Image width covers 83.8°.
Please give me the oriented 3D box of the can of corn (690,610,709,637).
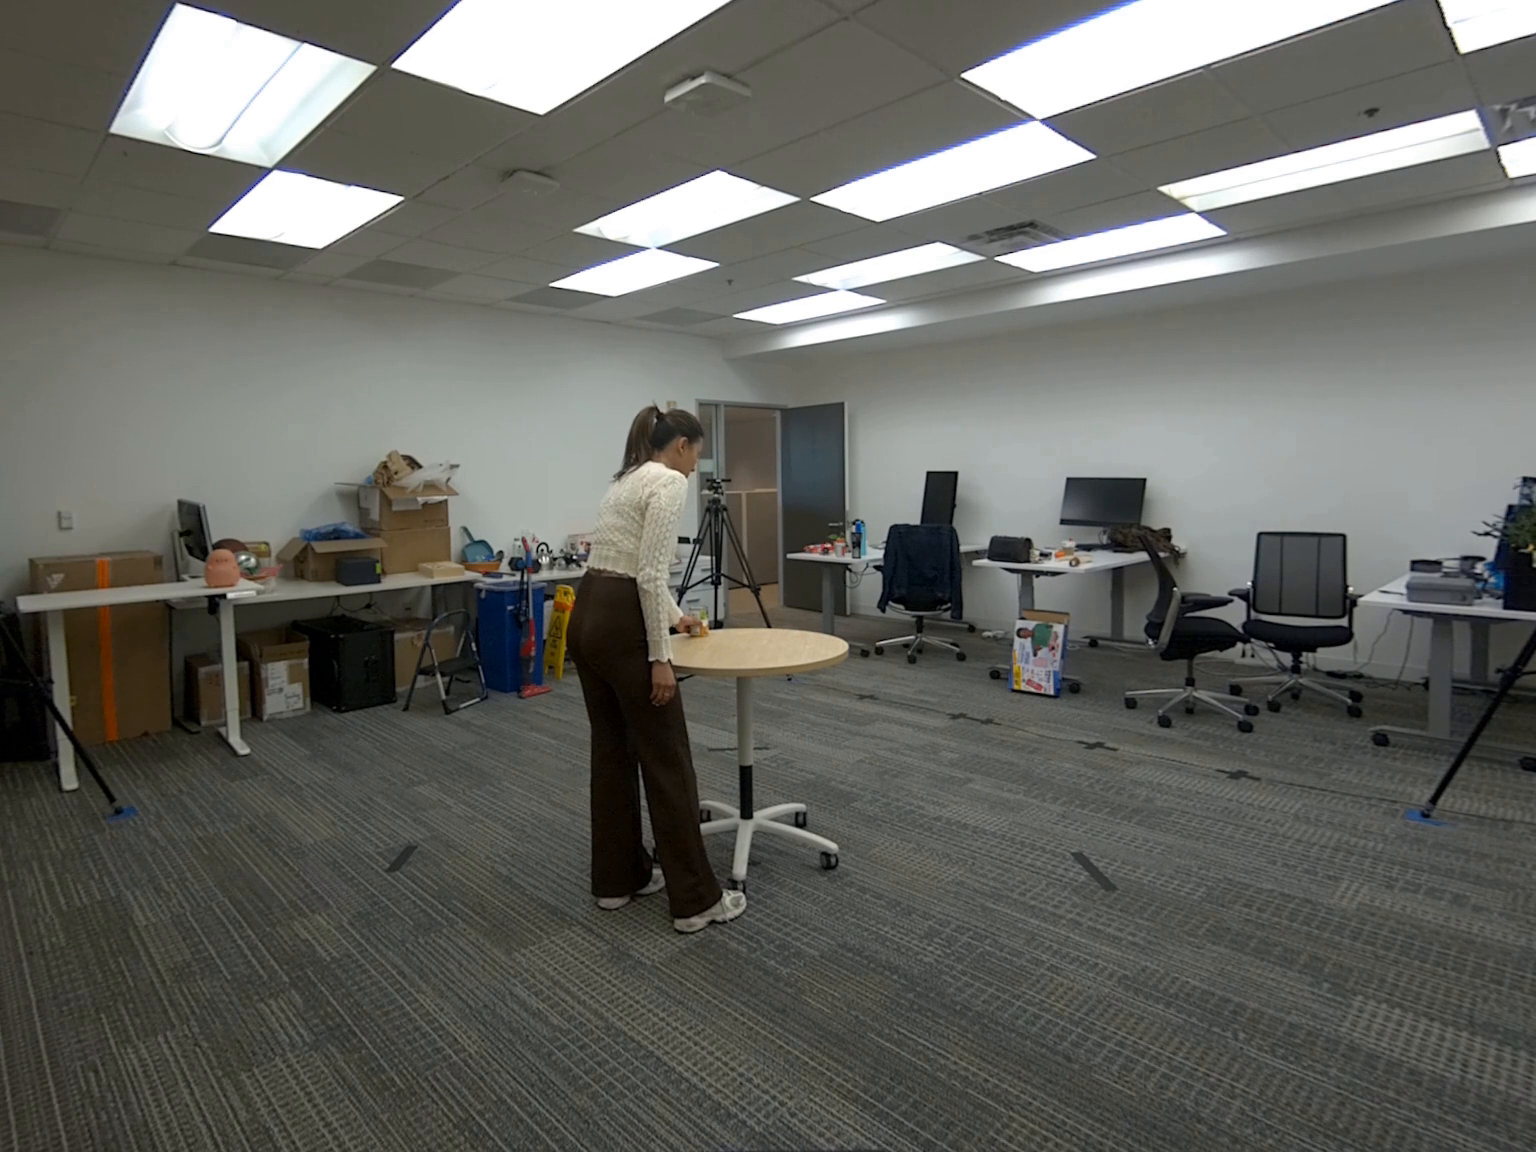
[{"bbox_3d":[-0.275,0.181,3.372,0.074,0.111,0.074,-3,3,-2],"label":"can of corn"}]
